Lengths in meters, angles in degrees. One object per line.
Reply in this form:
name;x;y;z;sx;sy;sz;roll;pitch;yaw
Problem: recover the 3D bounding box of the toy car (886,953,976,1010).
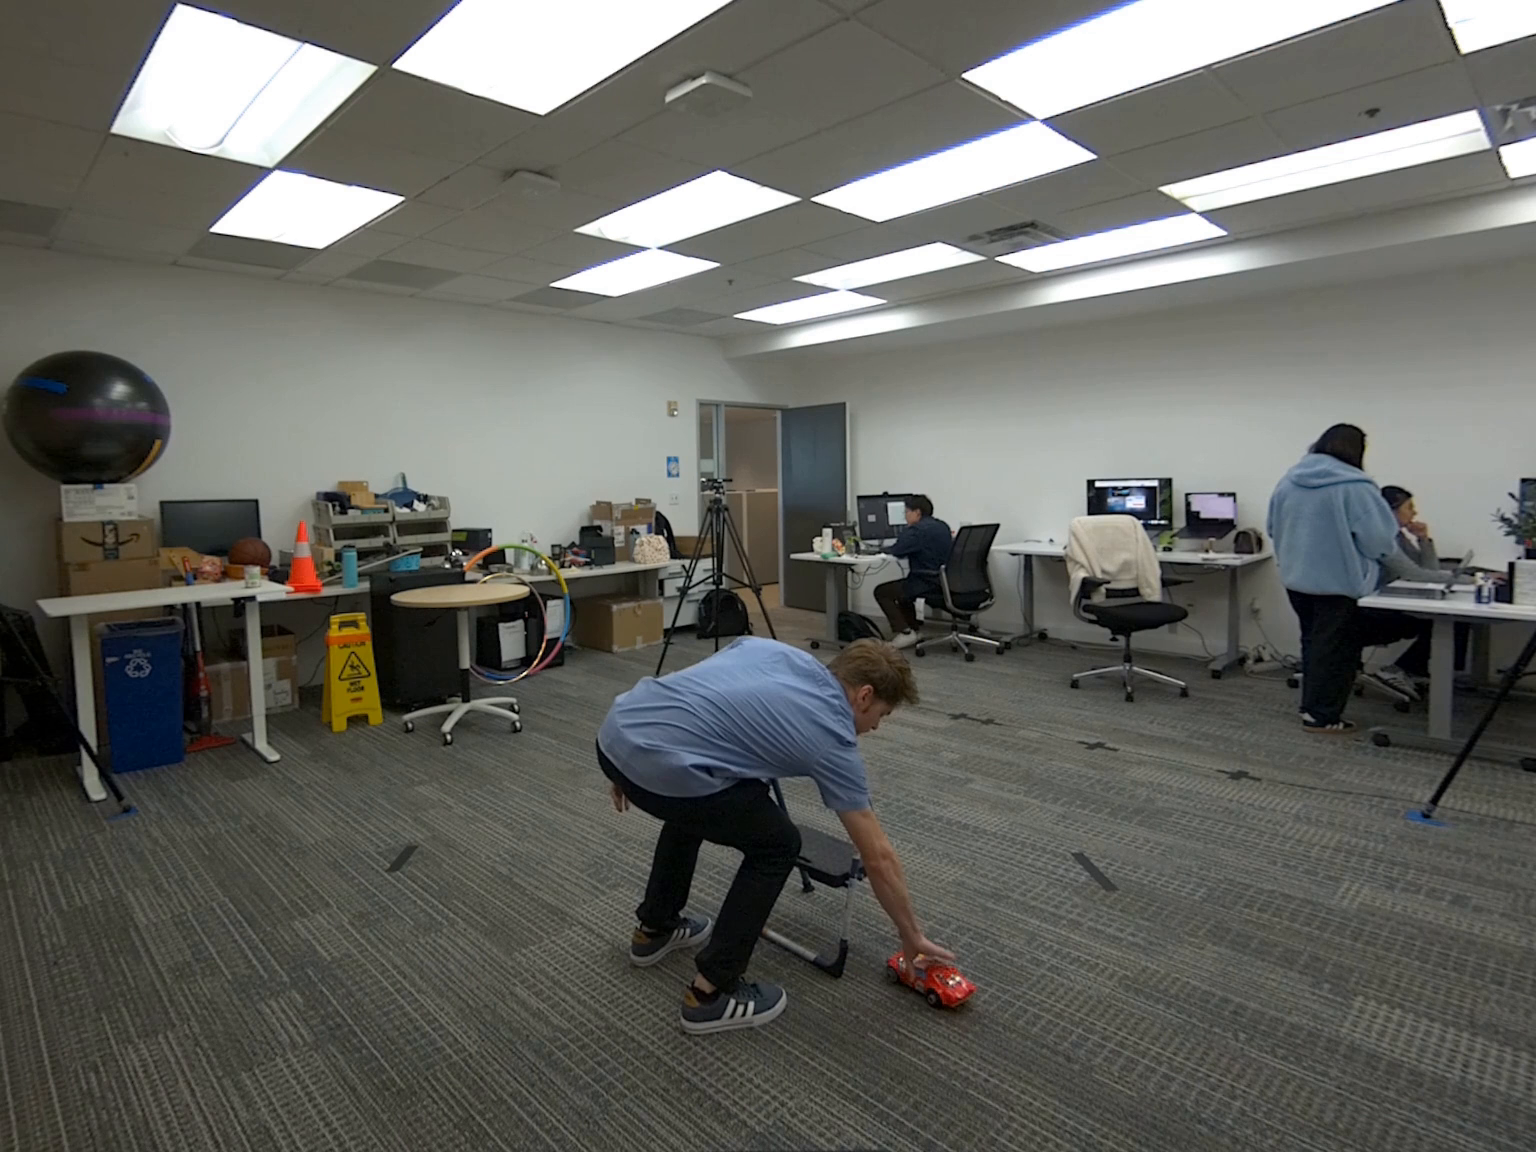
toy car;0.444;1.091;2.316;0.127;0.083;0.260;-6;-2;-37
